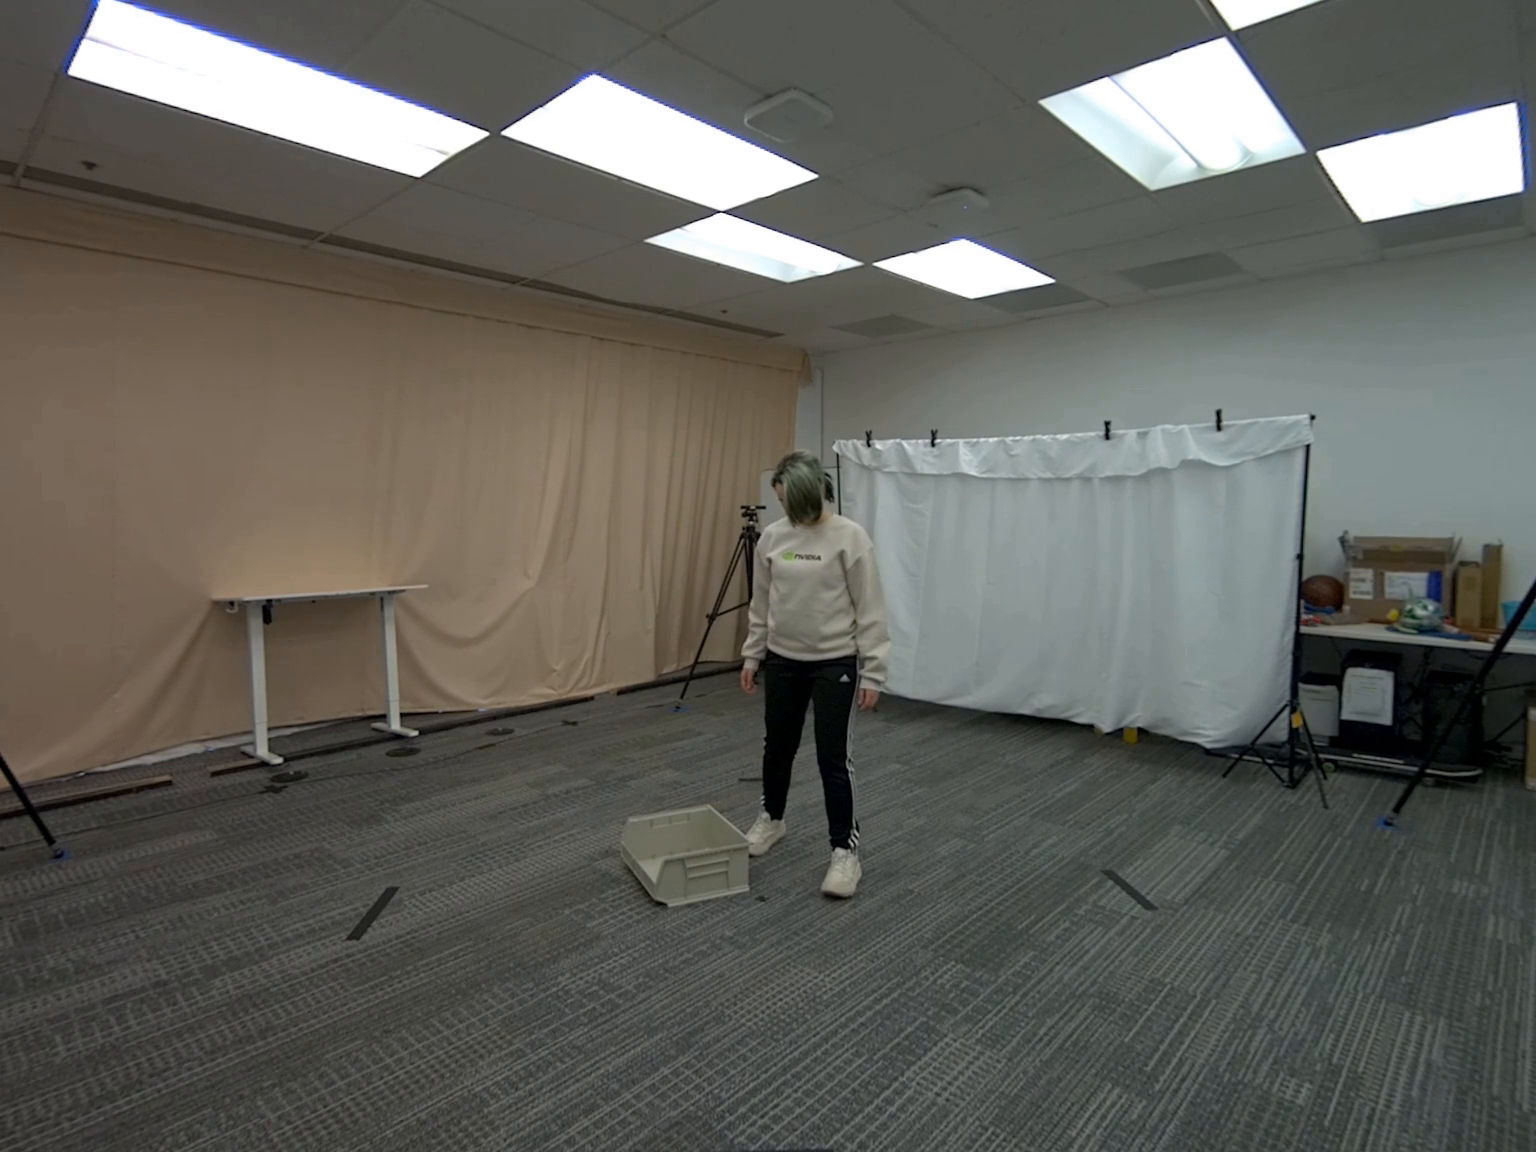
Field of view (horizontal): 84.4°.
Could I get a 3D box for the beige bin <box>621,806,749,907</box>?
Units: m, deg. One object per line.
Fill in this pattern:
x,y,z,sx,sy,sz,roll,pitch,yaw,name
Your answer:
-0.316,1.045,3.159,0.368,0.188,0.433,-2,4,-25,beige bin
